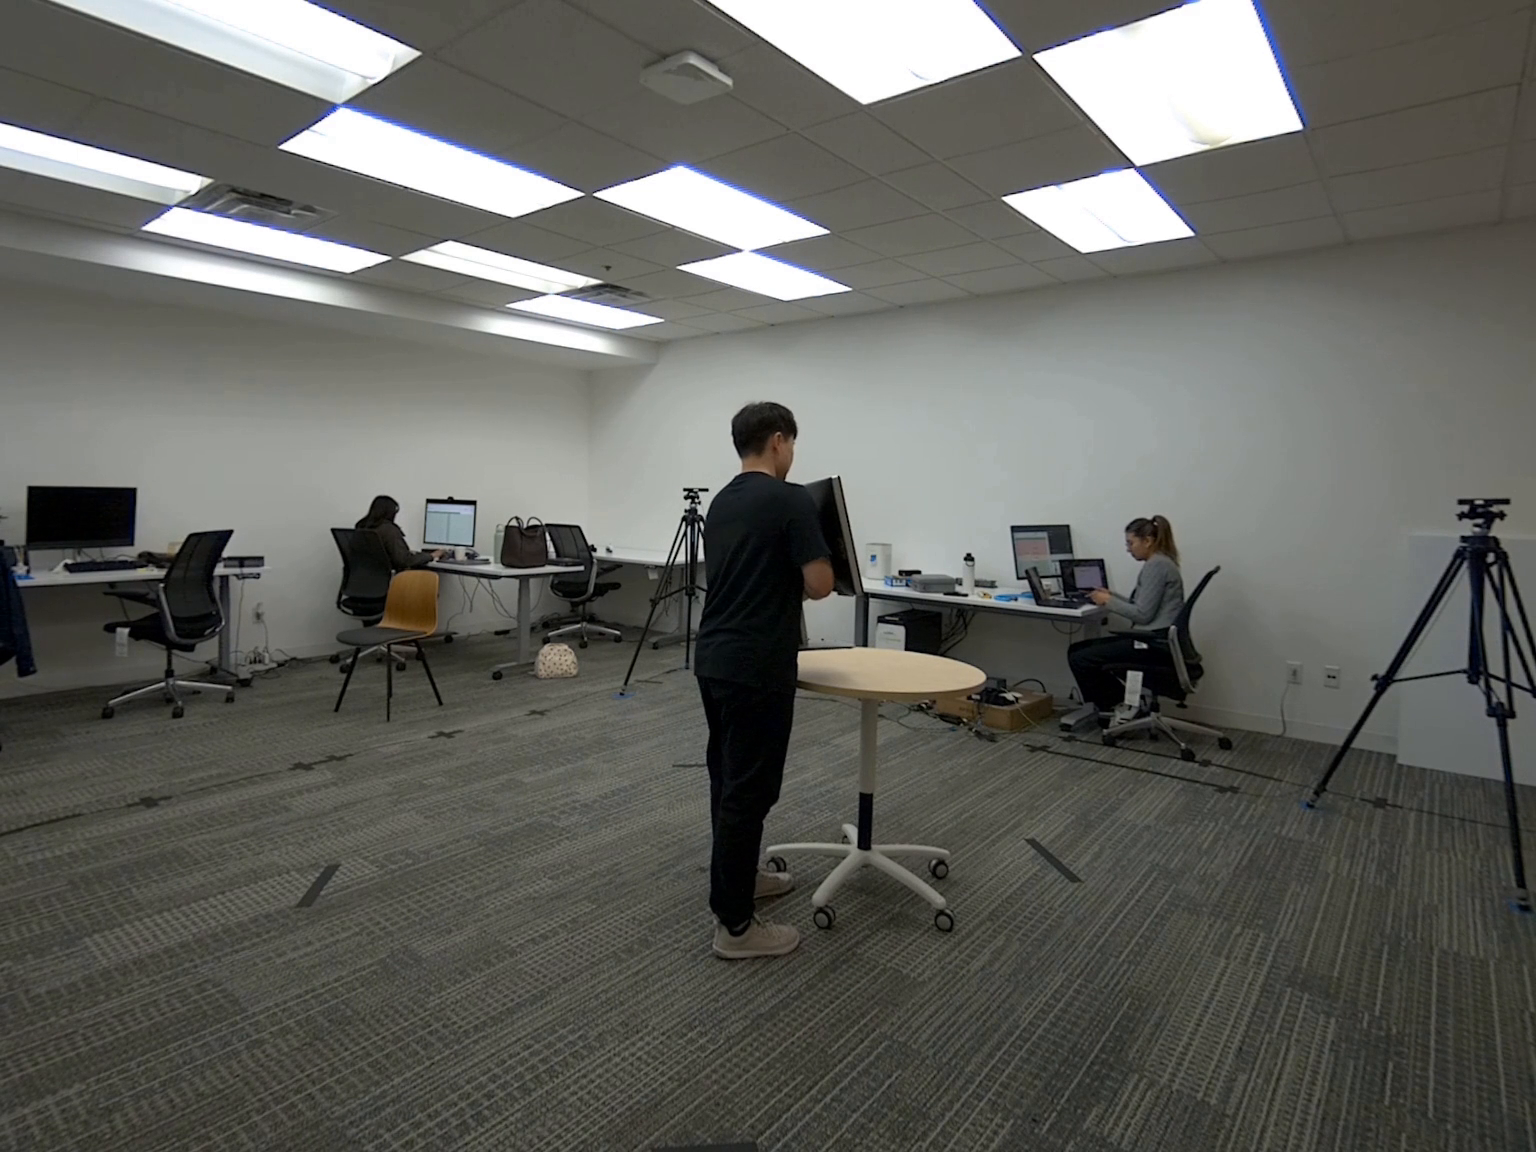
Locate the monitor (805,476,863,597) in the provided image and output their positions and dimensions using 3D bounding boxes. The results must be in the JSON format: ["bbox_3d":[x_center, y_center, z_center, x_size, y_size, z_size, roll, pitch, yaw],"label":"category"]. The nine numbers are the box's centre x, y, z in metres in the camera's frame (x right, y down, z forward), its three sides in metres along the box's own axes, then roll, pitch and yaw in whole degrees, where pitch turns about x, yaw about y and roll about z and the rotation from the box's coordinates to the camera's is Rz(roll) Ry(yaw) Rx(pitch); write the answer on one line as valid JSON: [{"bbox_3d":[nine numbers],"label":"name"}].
[{"bbox_3d":[0.134,-0.025,2.782,0.184,0.523,0.546,0,0,-14],"label":"monitor"}]
